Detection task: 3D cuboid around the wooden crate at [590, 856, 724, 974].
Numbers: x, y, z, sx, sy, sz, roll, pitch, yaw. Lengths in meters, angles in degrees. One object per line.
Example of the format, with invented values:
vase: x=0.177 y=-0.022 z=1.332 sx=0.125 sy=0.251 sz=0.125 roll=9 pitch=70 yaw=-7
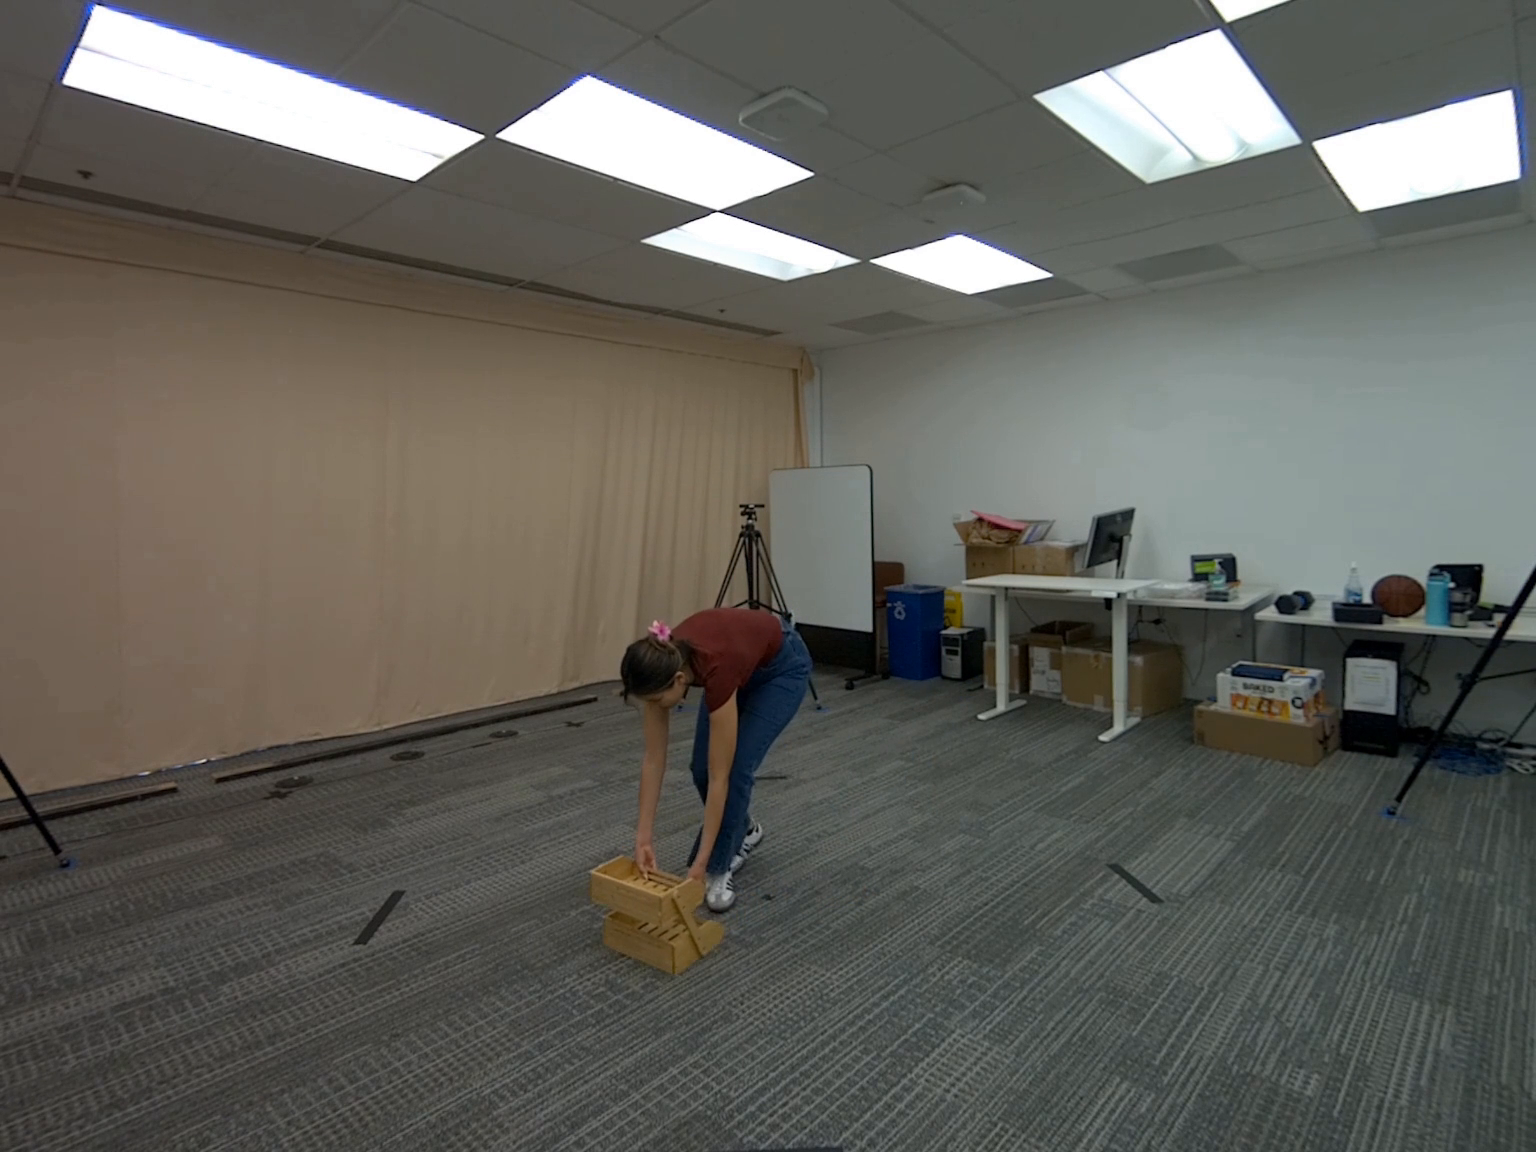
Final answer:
wooden crate: x=-0.337 y=1.039 z=2.652 sx=0.334 sy=0.273 sz=0.293 roll=1 pitch=5 yaw=35
